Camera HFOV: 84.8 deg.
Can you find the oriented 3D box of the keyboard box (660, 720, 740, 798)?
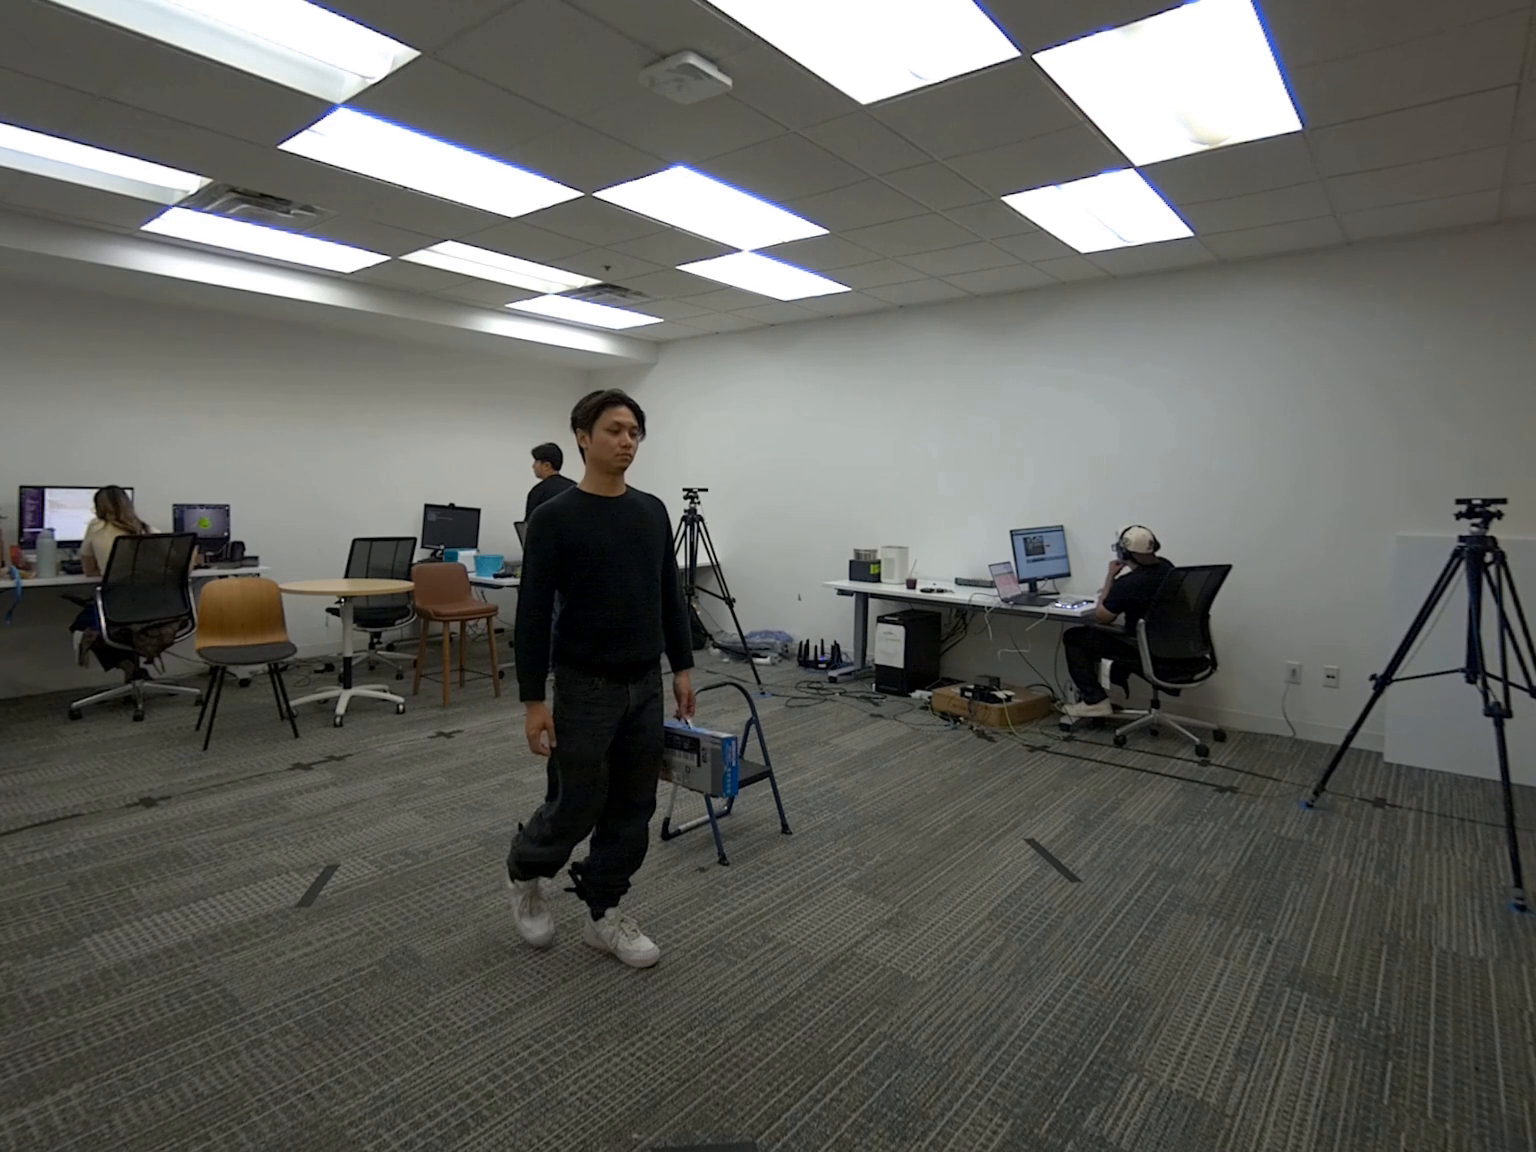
[{"bbox_3d":[-0.272,0.549,2.611,0.057,0.176,0.450,0,-1,-43],"label":"keyboard box"}]
